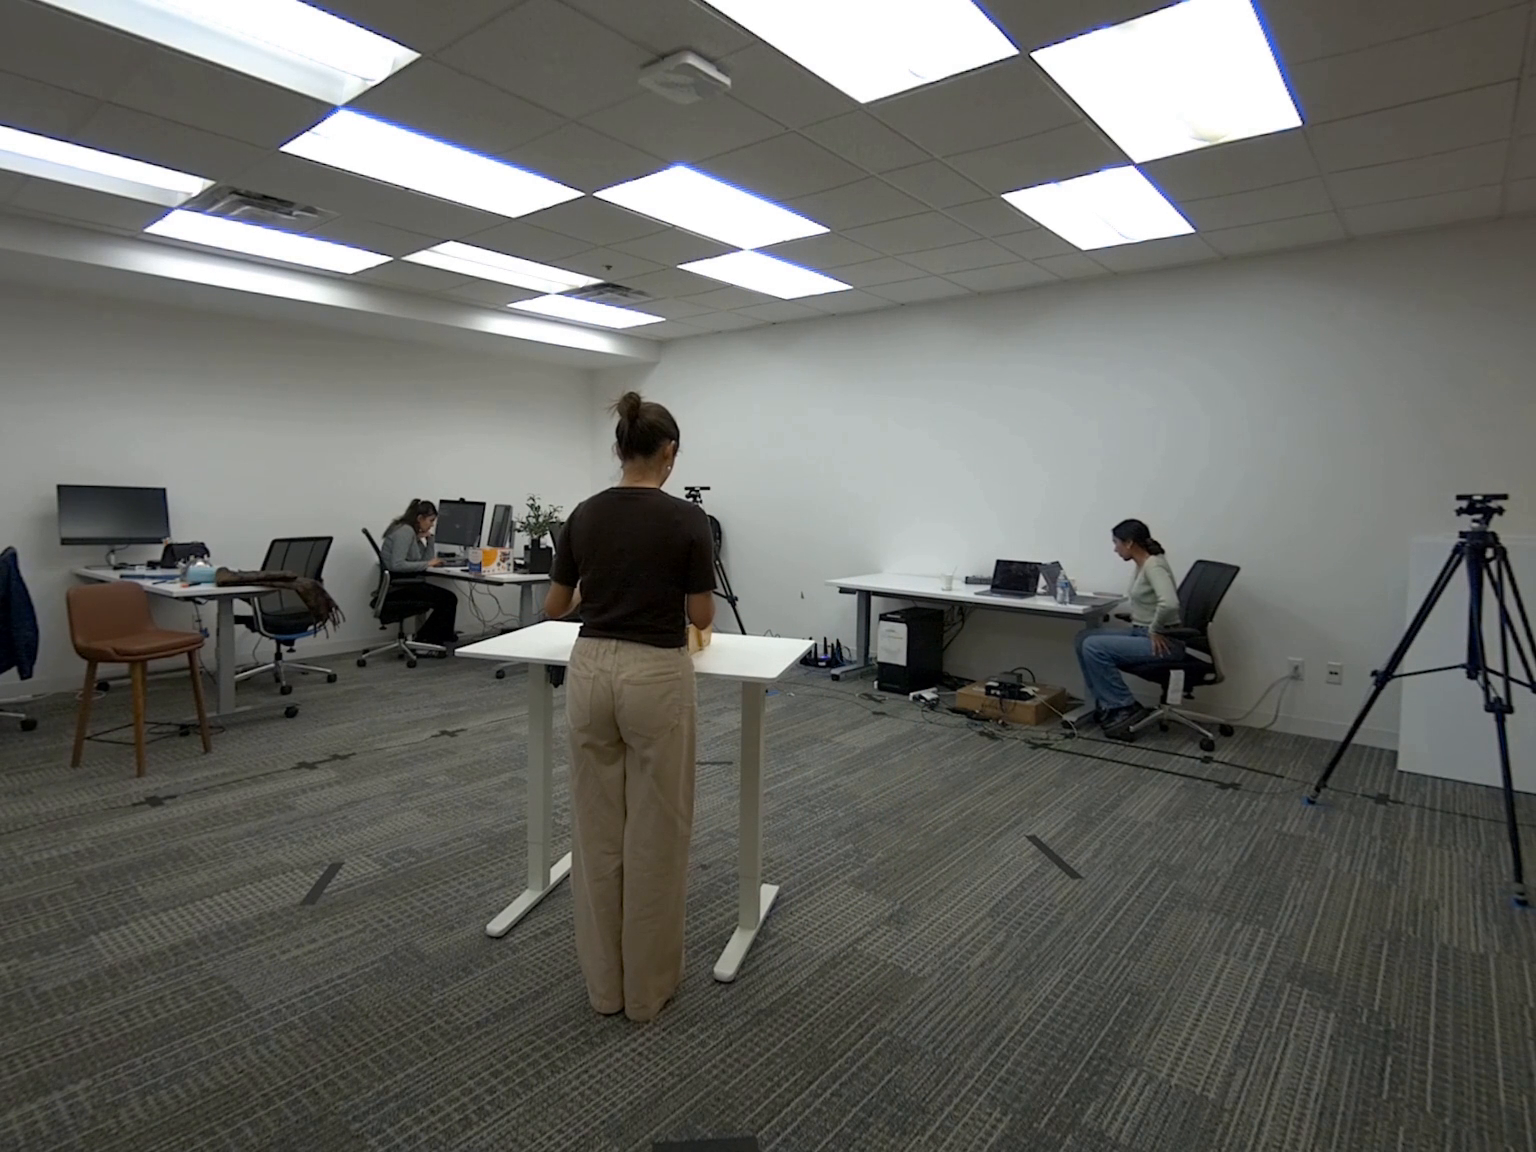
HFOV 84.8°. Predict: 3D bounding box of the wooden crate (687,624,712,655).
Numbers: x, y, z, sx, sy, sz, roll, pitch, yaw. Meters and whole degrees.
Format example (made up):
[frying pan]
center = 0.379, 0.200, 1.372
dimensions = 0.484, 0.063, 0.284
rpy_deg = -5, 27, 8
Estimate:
[wooden crate]
center = -0.368, 0.090, 2.670
dimensions = 0.329, 0.272, 0.299
rpy_deg = 2, 5, 13
